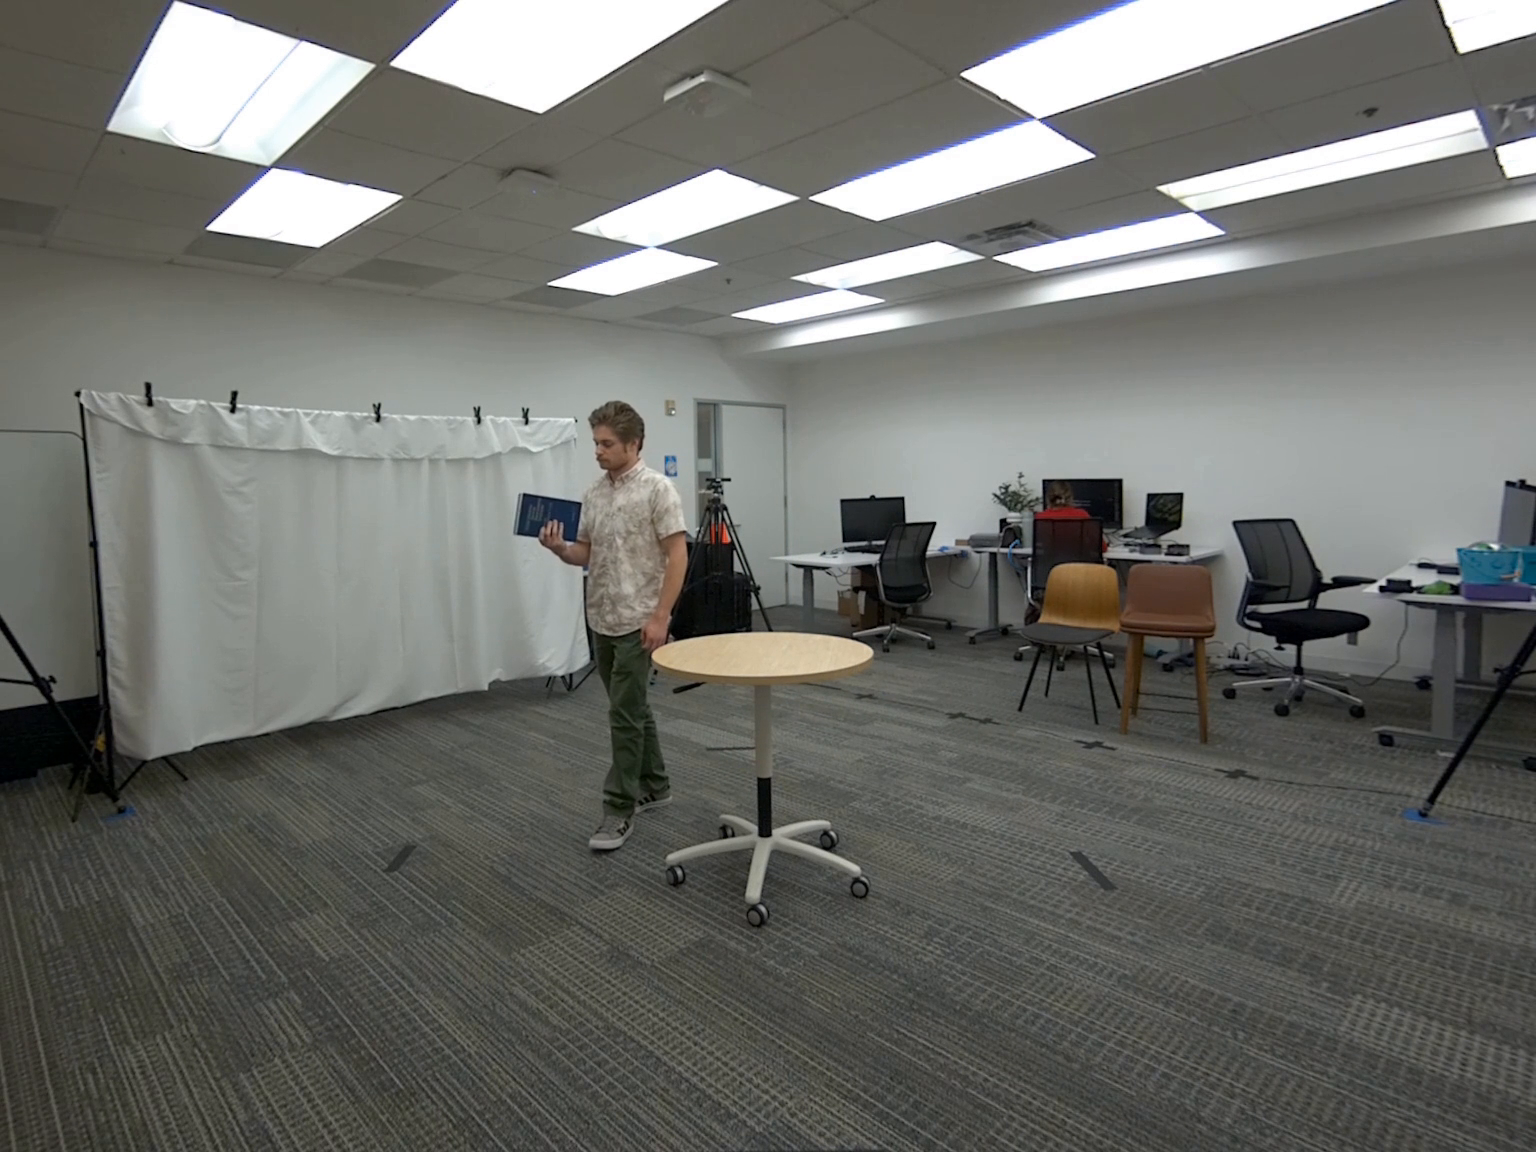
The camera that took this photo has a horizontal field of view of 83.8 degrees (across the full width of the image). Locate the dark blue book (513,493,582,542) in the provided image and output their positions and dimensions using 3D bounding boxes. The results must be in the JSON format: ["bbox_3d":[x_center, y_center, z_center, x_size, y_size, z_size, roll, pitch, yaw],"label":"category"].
[{"bbox_3d":[-0.861,-0.228,3.337,0.239,0.163,0.046,8,0,-27],"label":"dark blue book"}]
